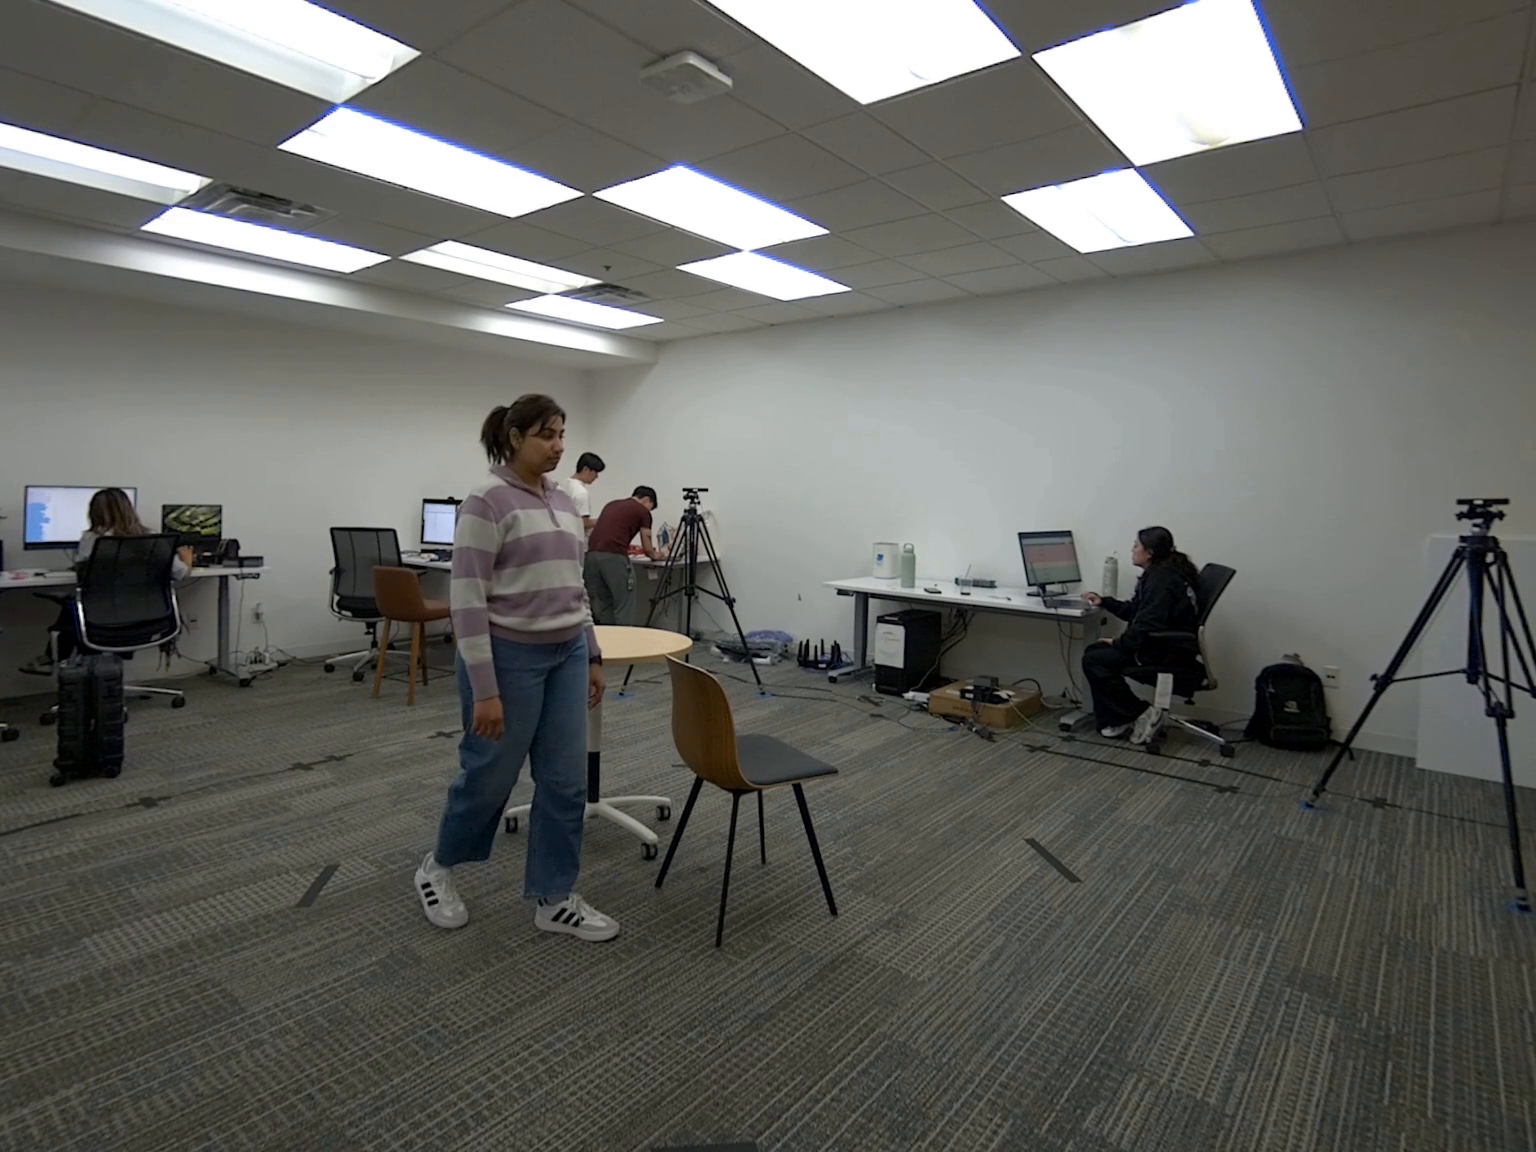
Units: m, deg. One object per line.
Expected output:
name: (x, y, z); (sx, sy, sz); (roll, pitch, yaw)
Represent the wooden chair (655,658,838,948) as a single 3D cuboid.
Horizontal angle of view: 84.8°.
wooden chair: (-0.075, 0.668, 2.853); (0.510, 0.873, 0.493); (-5, 6, -31)
